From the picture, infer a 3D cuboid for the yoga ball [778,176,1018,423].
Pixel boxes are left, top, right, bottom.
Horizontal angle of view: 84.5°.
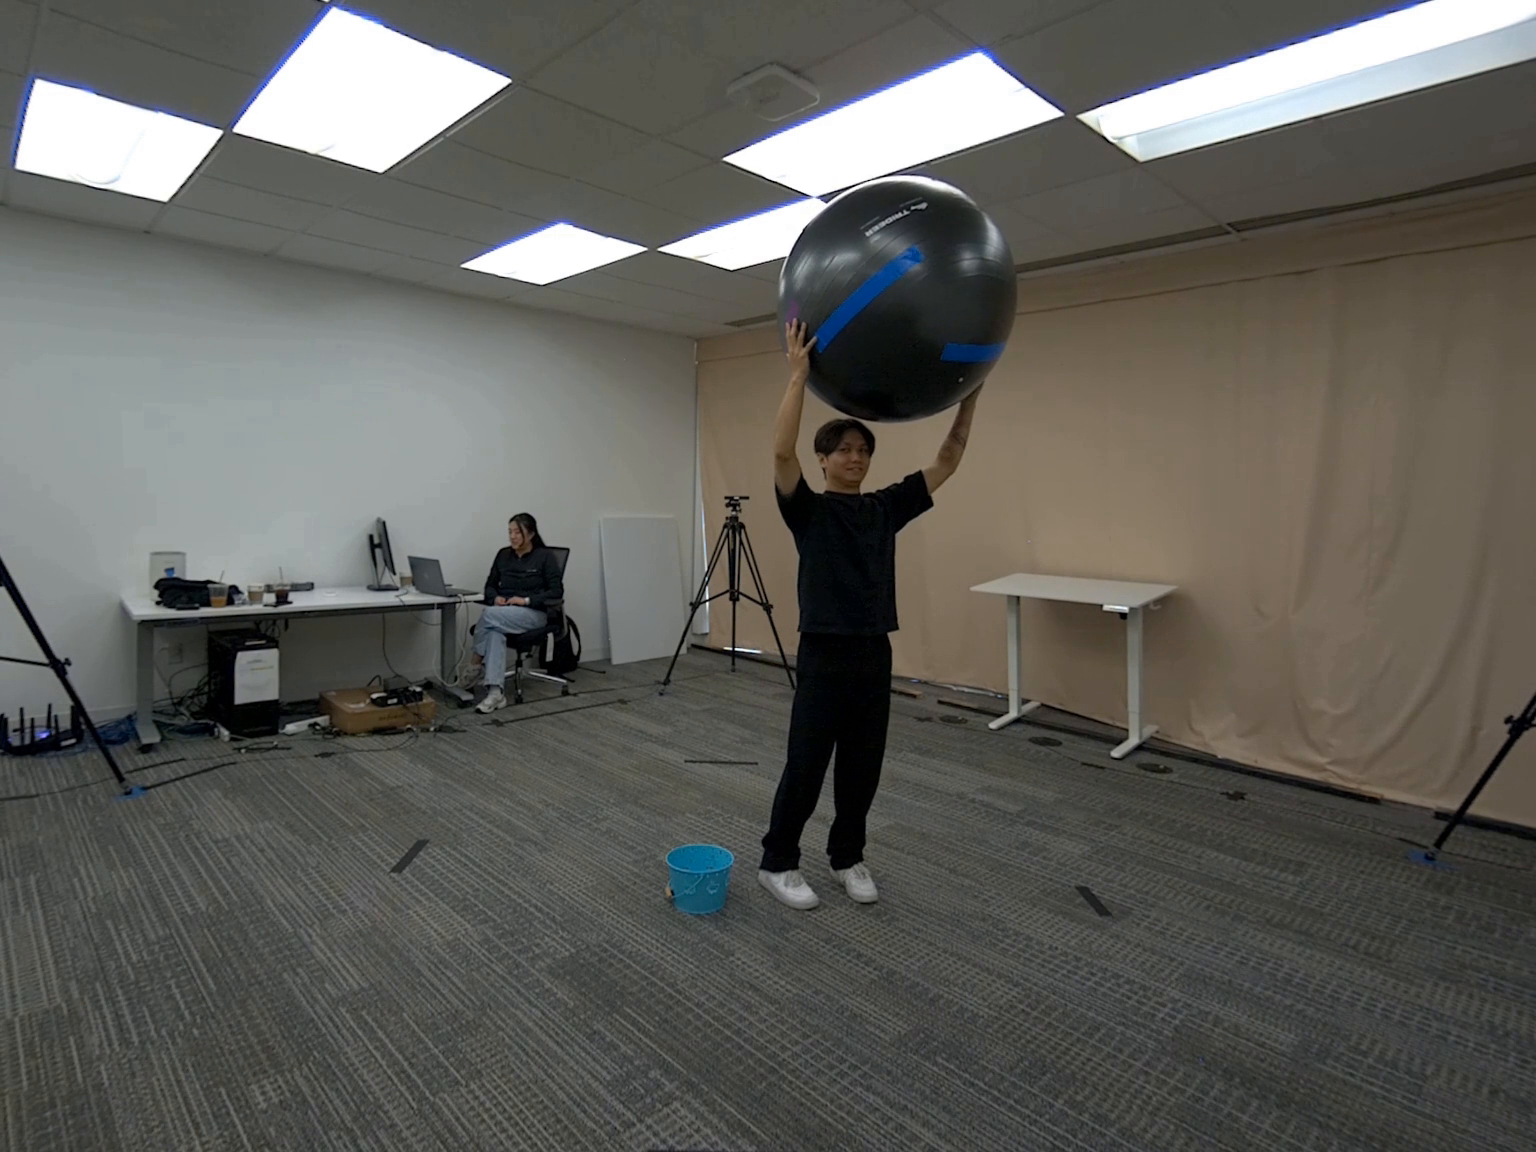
[{"bbox_3d":[0.405,-0.876,2.719,0.757,0.756,0.761,1,4,-1],"label":"yoga ball"}]
